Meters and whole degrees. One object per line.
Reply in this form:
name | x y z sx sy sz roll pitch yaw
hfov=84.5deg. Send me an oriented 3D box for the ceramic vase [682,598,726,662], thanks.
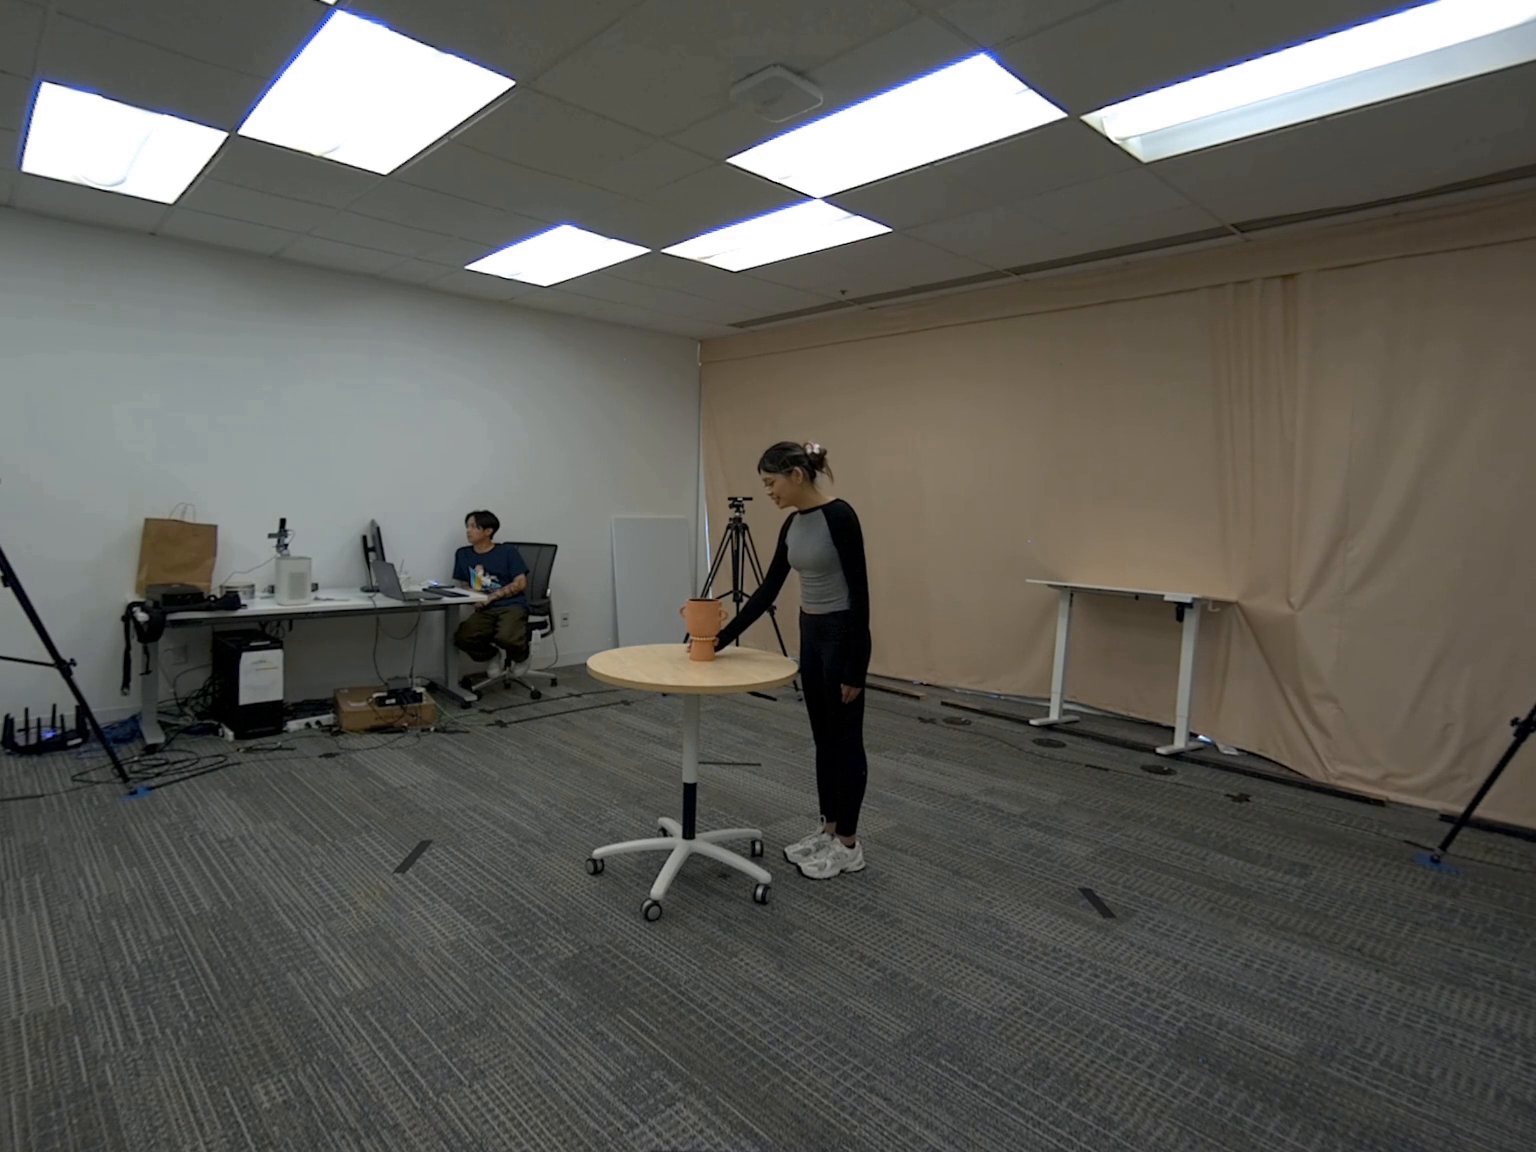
ceramic vase | -0.243 0.199 3.127 0.132 0.219 0.162 0 3 -29
